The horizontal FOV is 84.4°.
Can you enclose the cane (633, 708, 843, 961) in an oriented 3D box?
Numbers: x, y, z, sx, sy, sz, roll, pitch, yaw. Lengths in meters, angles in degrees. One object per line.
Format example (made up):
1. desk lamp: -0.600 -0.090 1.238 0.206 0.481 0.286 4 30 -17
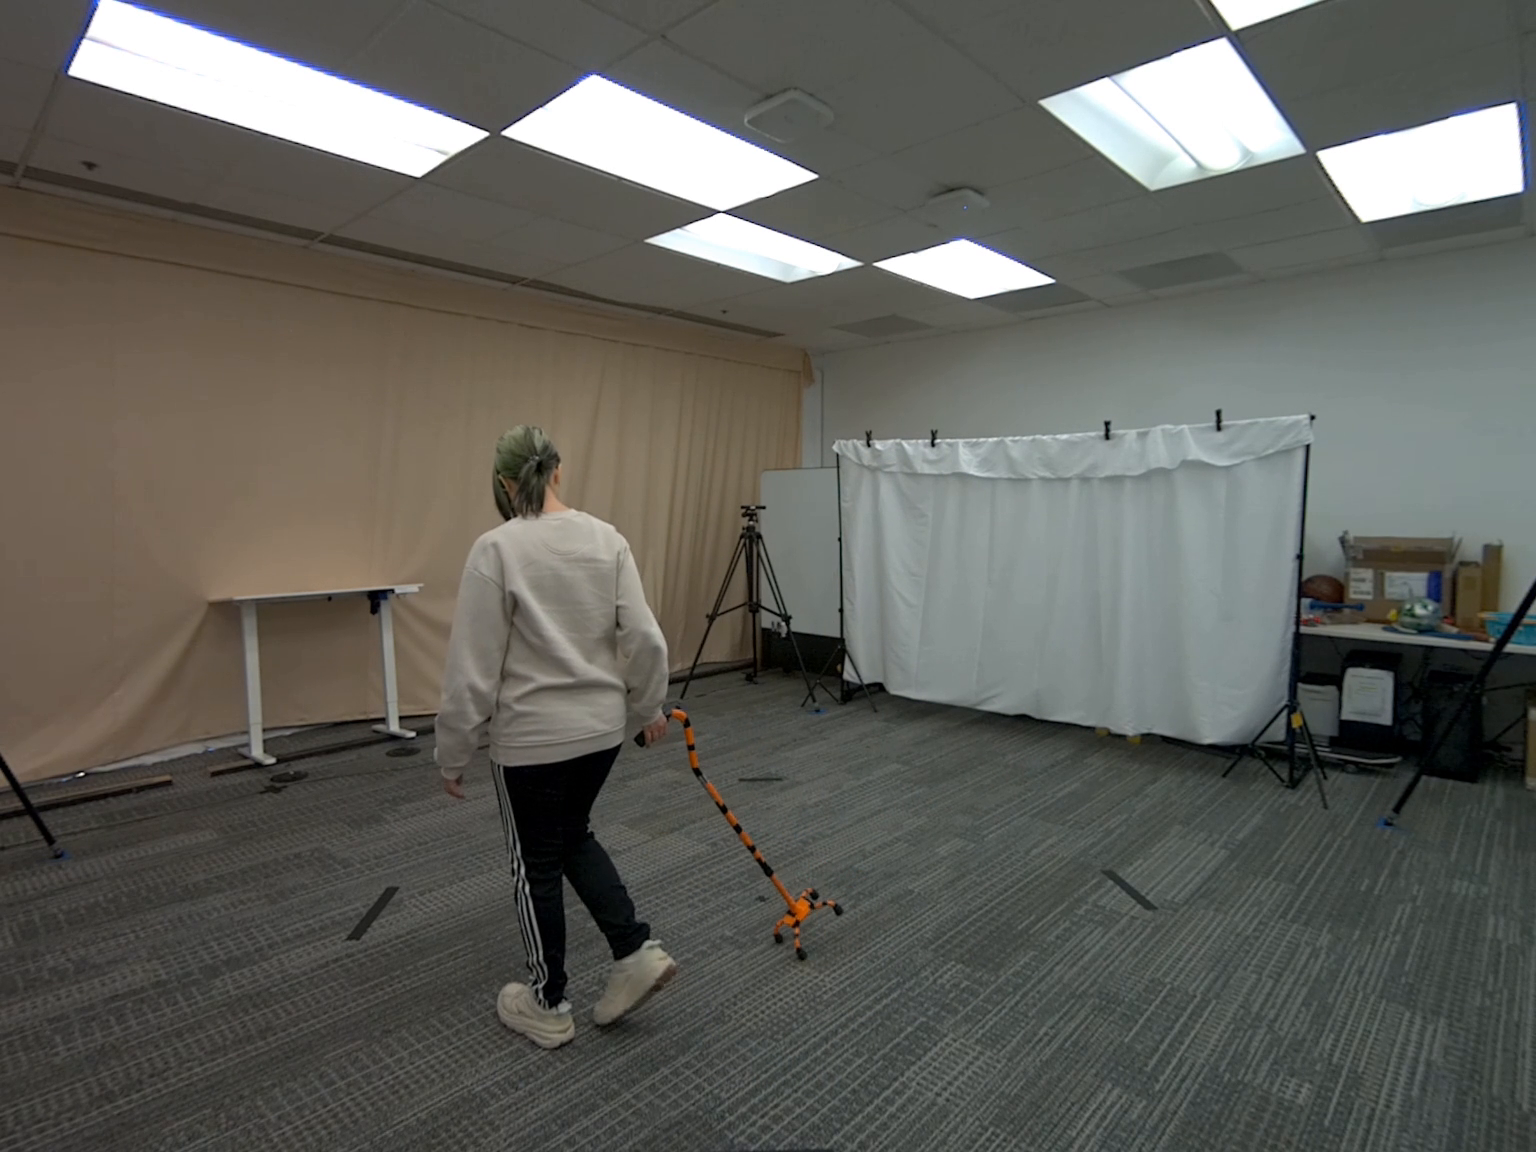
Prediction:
1. cane: -0.071 0.759 2.525 0.204 0.889 0.156 -40 22 -24
